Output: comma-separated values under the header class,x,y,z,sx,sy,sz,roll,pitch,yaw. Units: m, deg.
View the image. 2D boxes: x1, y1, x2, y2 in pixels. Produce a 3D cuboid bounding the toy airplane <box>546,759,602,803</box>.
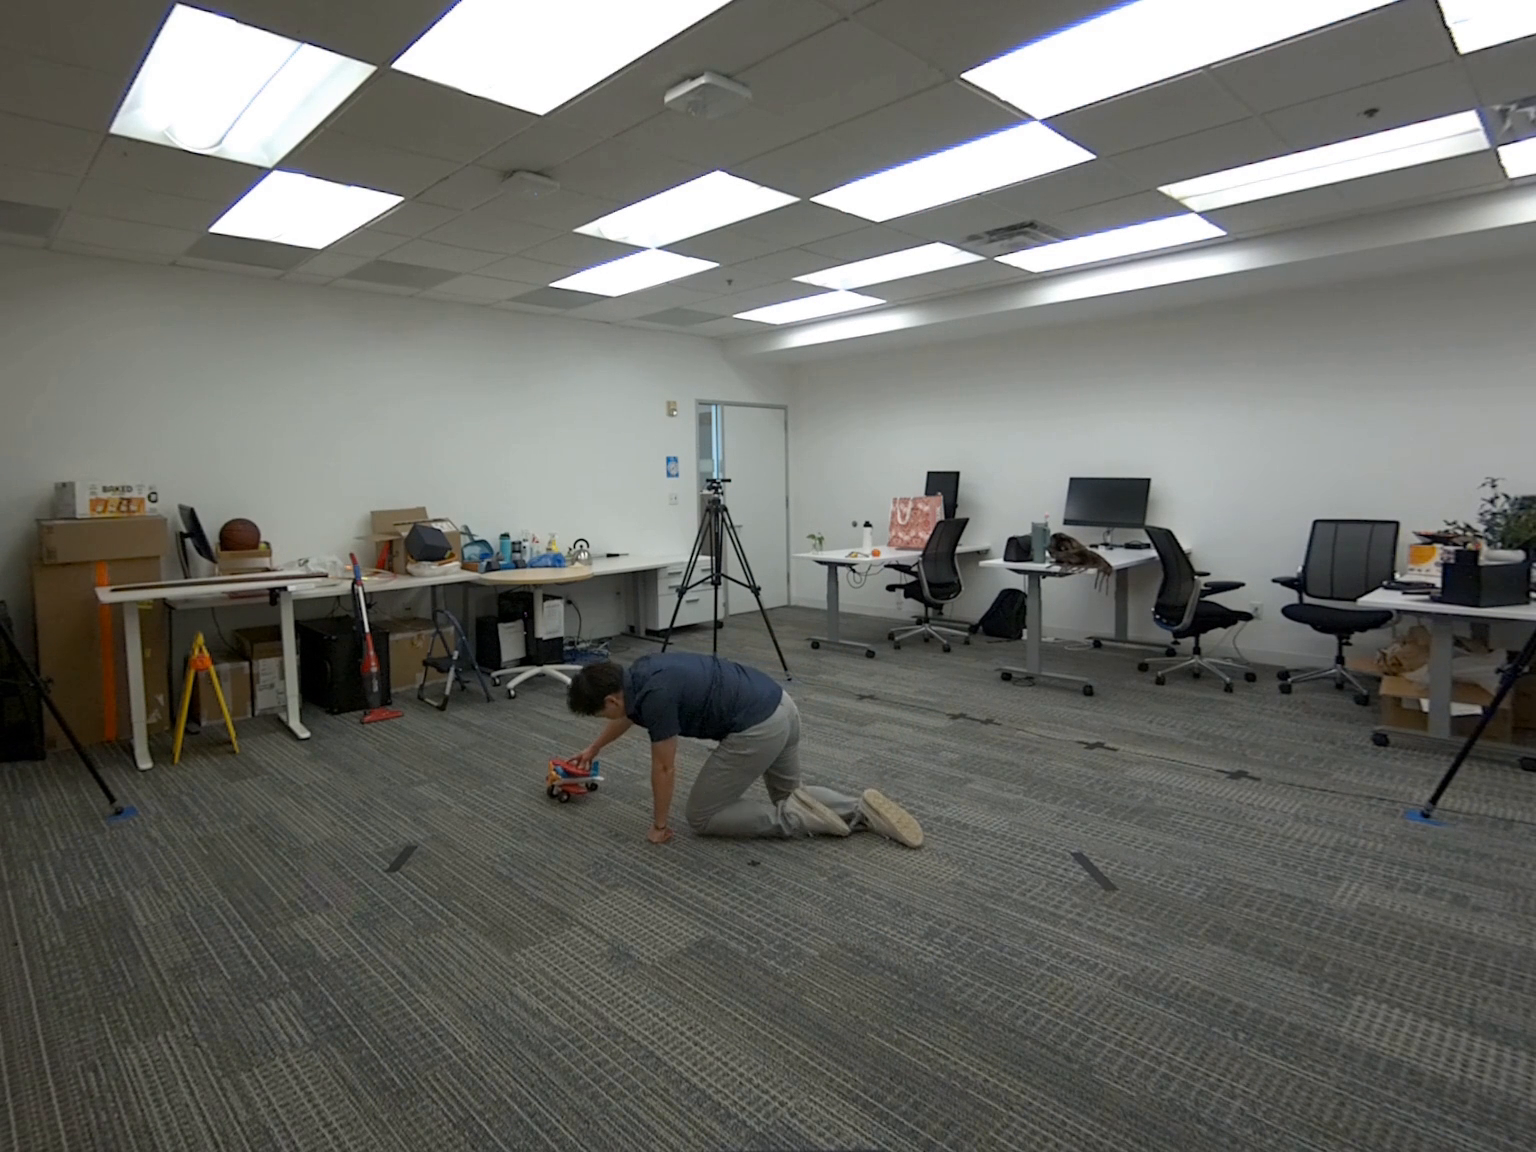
class,x,y,z,sx,sy,sz,roll,pitch,yaw
toy airplane,-0.880,0.905,3.836,0.255,0.155,0.257,3,9,16
